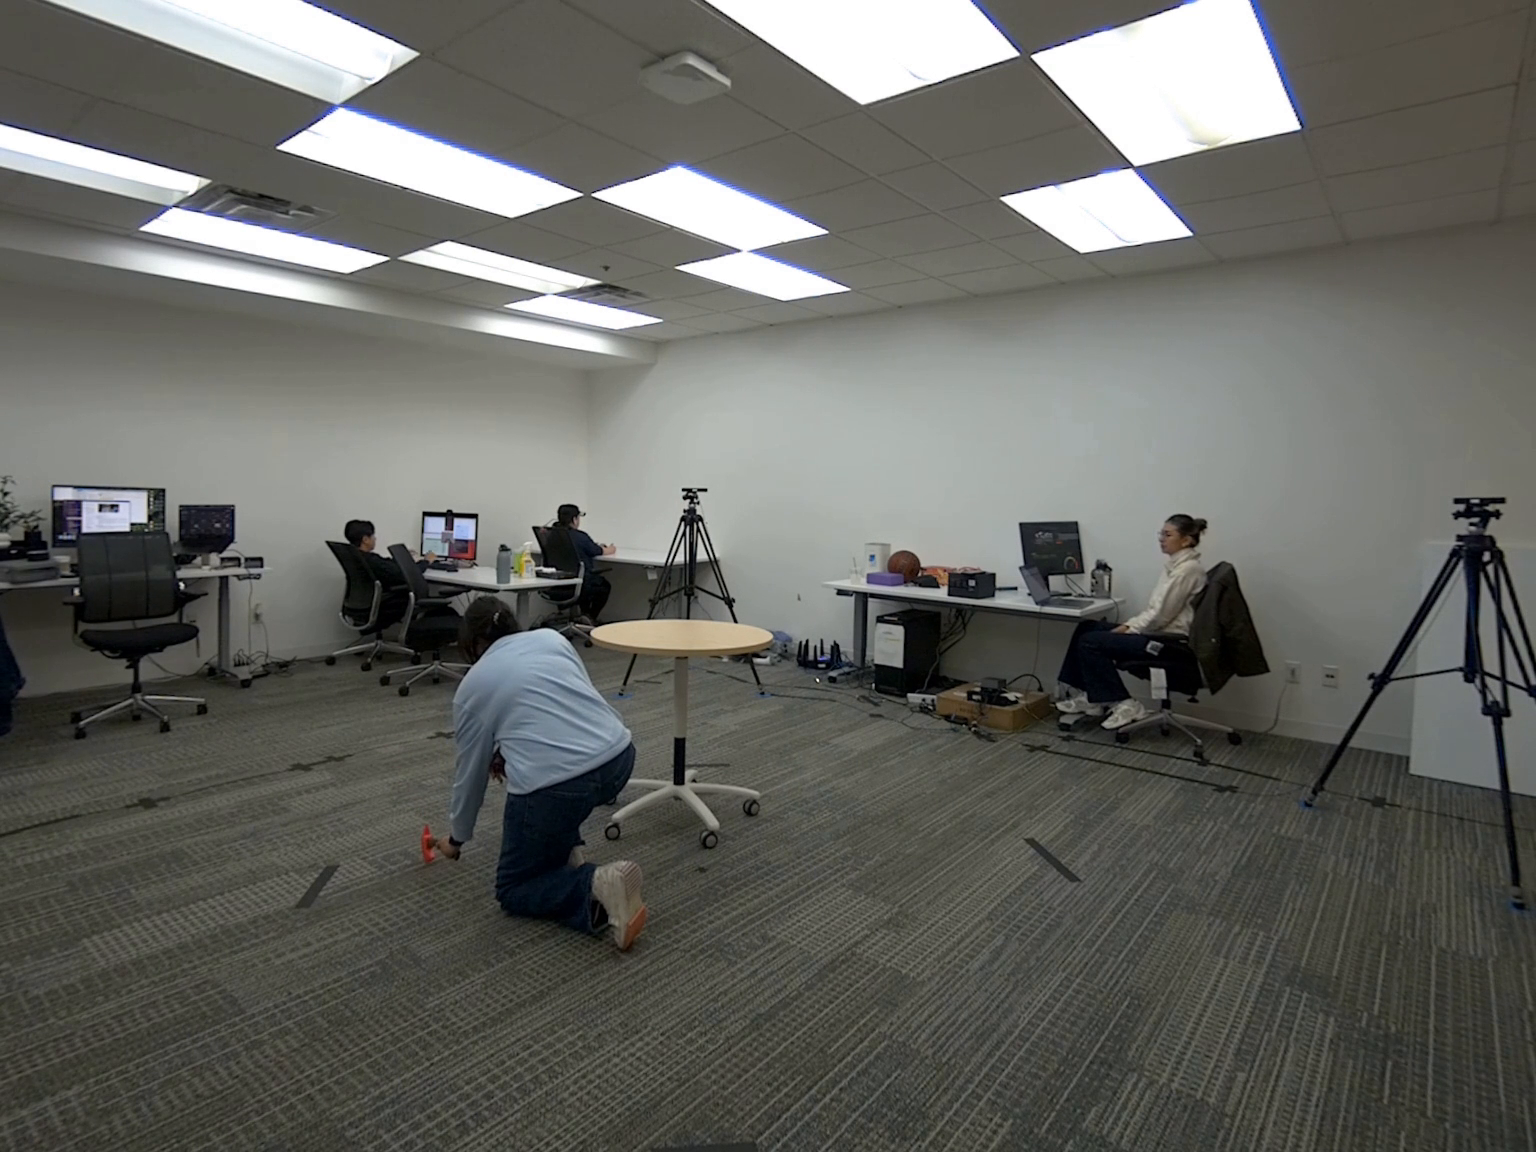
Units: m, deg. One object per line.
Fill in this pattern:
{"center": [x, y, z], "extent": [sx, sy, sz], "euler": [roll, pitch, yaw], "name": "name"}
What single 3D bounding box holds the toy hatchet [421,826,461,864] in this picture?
{"center": [-1.205, 1.003, 3.069], "extent": [0.280, 0.131, 0.028], "euler": [13, -1, 43], "name": "toy hatchet"}
